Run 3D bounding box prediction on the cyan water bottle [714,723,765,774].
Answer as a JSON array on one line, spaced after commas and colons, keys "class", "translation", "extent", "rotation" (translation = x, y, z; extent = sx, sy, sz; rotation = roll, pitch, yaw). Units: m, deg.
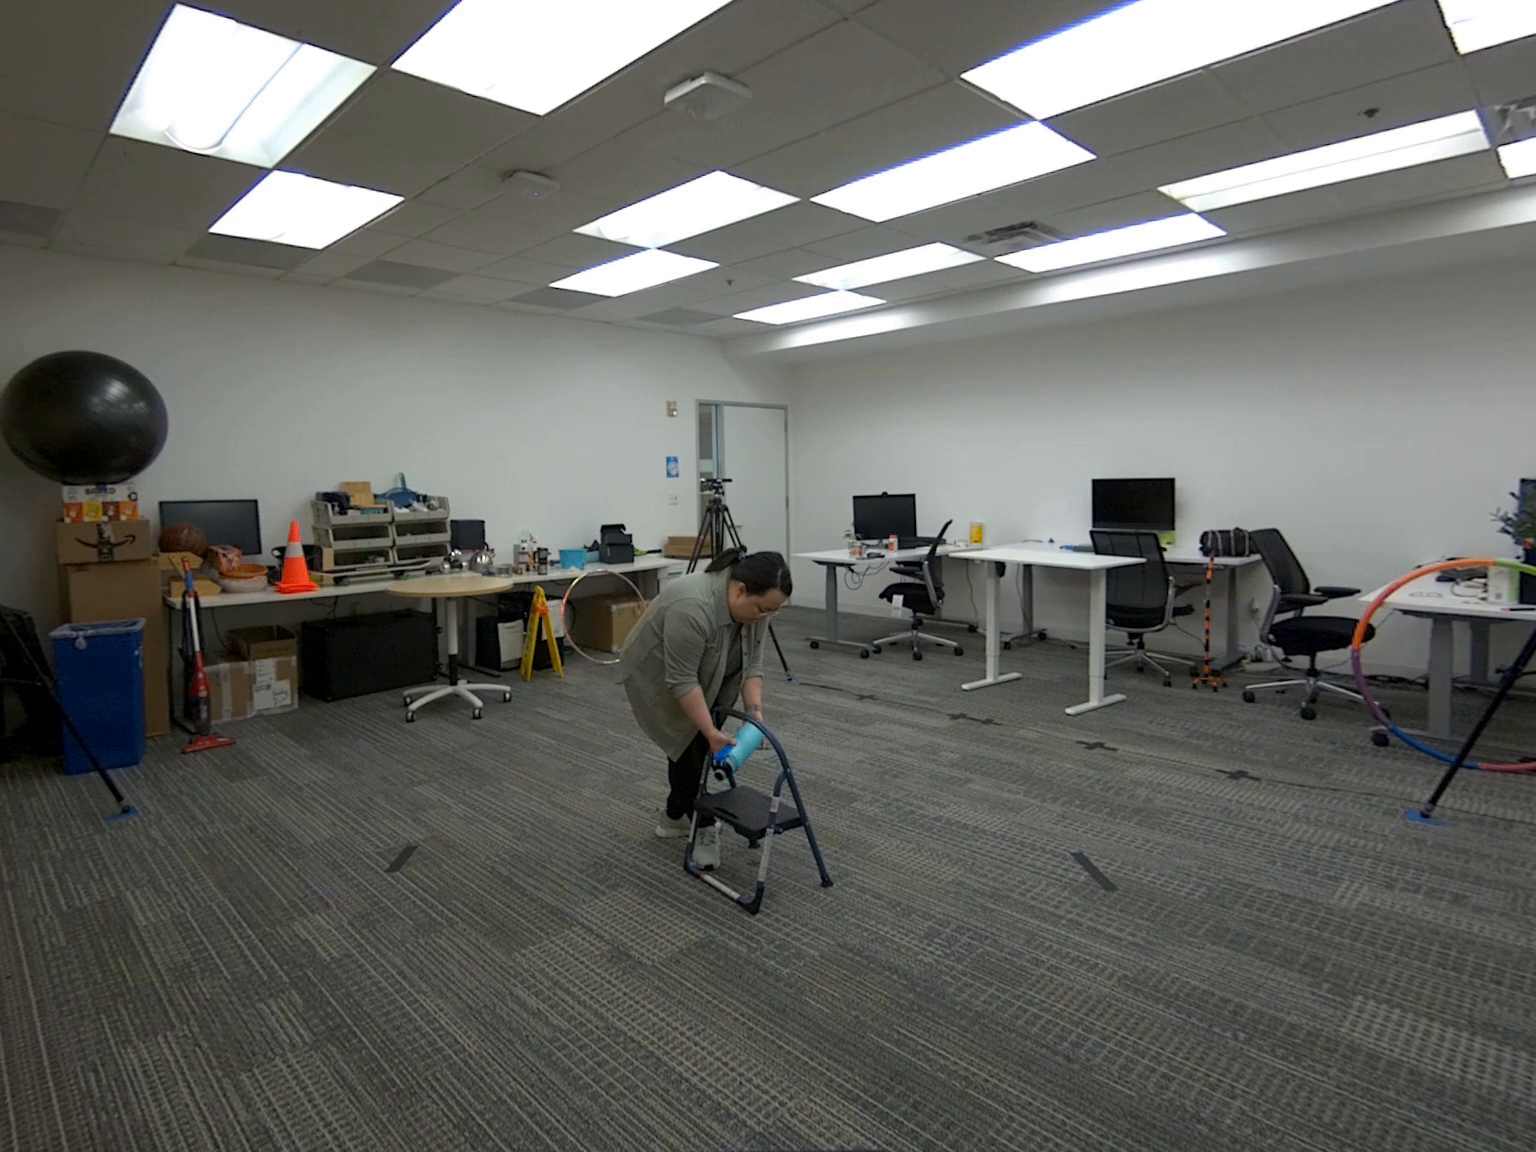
[{"class": "cyan water bottle", "translation": [-0.092, 0.610, 2.957], "extent": [0.094, 0.090, 0.281], "rotation": [1, 22, 27]}]
